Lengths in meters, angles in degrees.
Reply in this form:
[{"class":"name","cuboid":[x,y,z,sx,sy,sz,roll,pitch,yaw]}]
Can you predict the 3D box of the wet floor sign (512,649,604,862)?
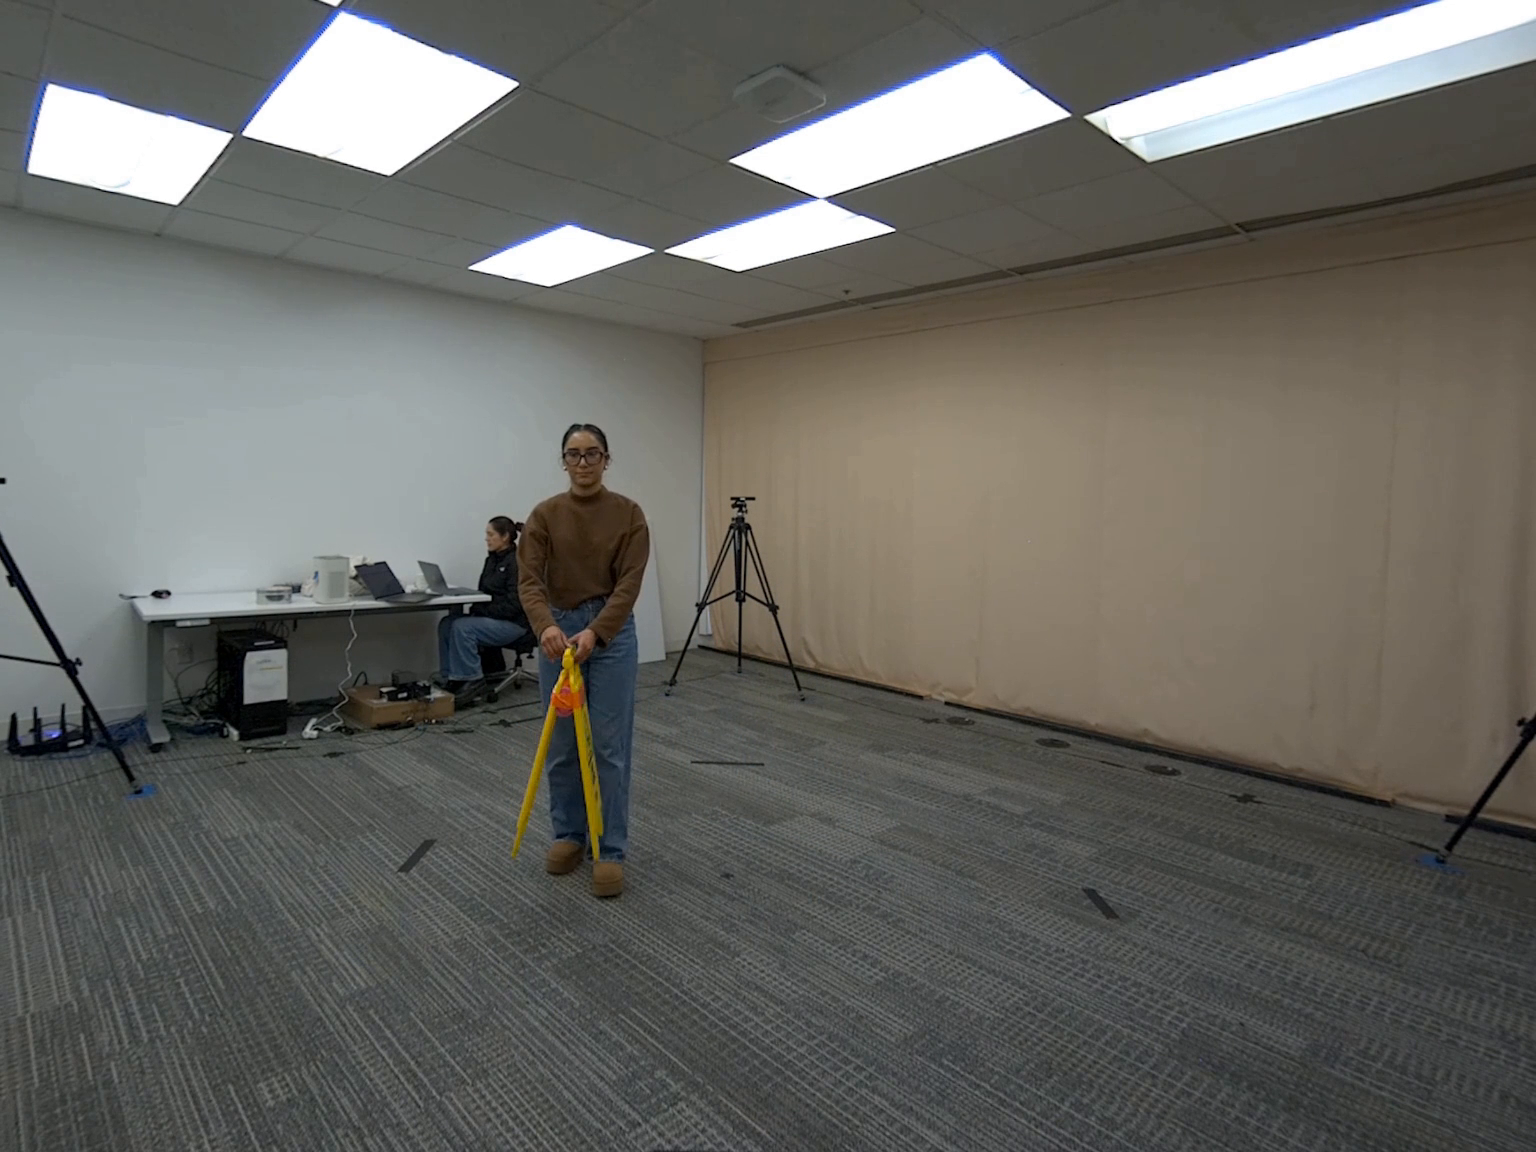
[{"class":"wet floor sign","cuboid":[-0.685,0.562,2.764,0.288,0.645,0.284,4,2,-7]}]
